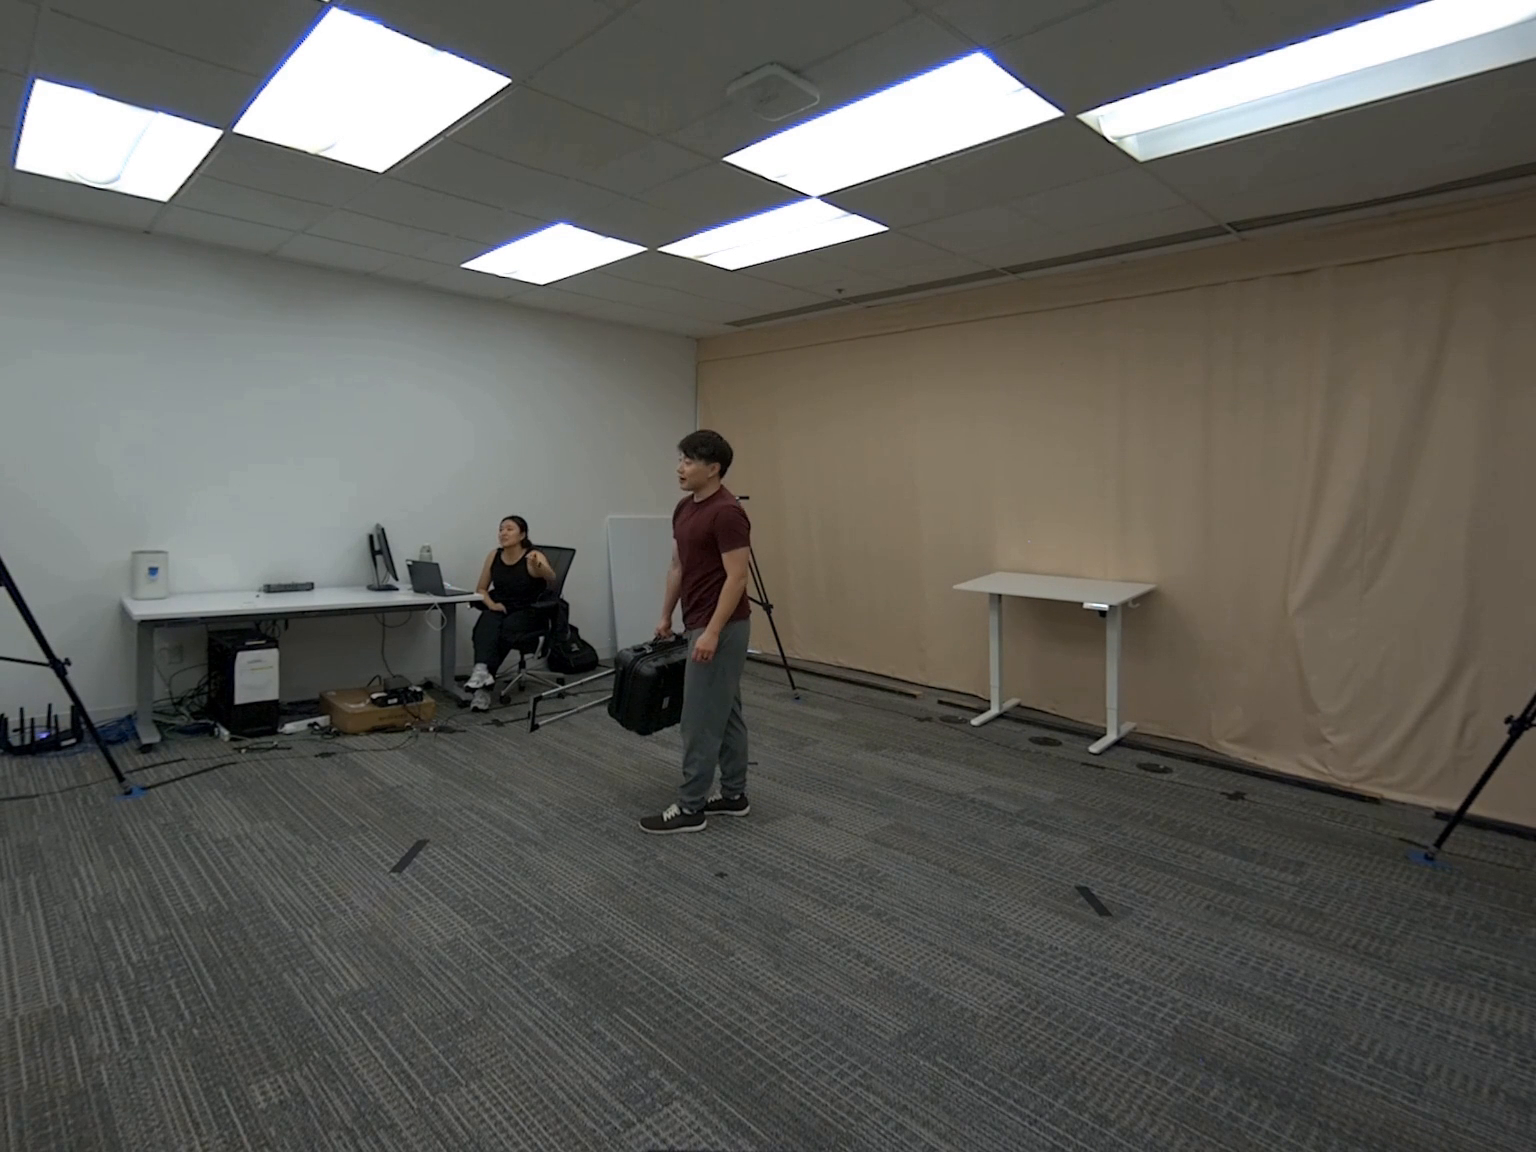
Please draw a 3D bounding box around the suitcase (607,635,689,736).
[{"bbox_3d":[-0.591,0.516,3.699,0.264,0.380,0.961,18,18,32],"label":"suitcase"}]
